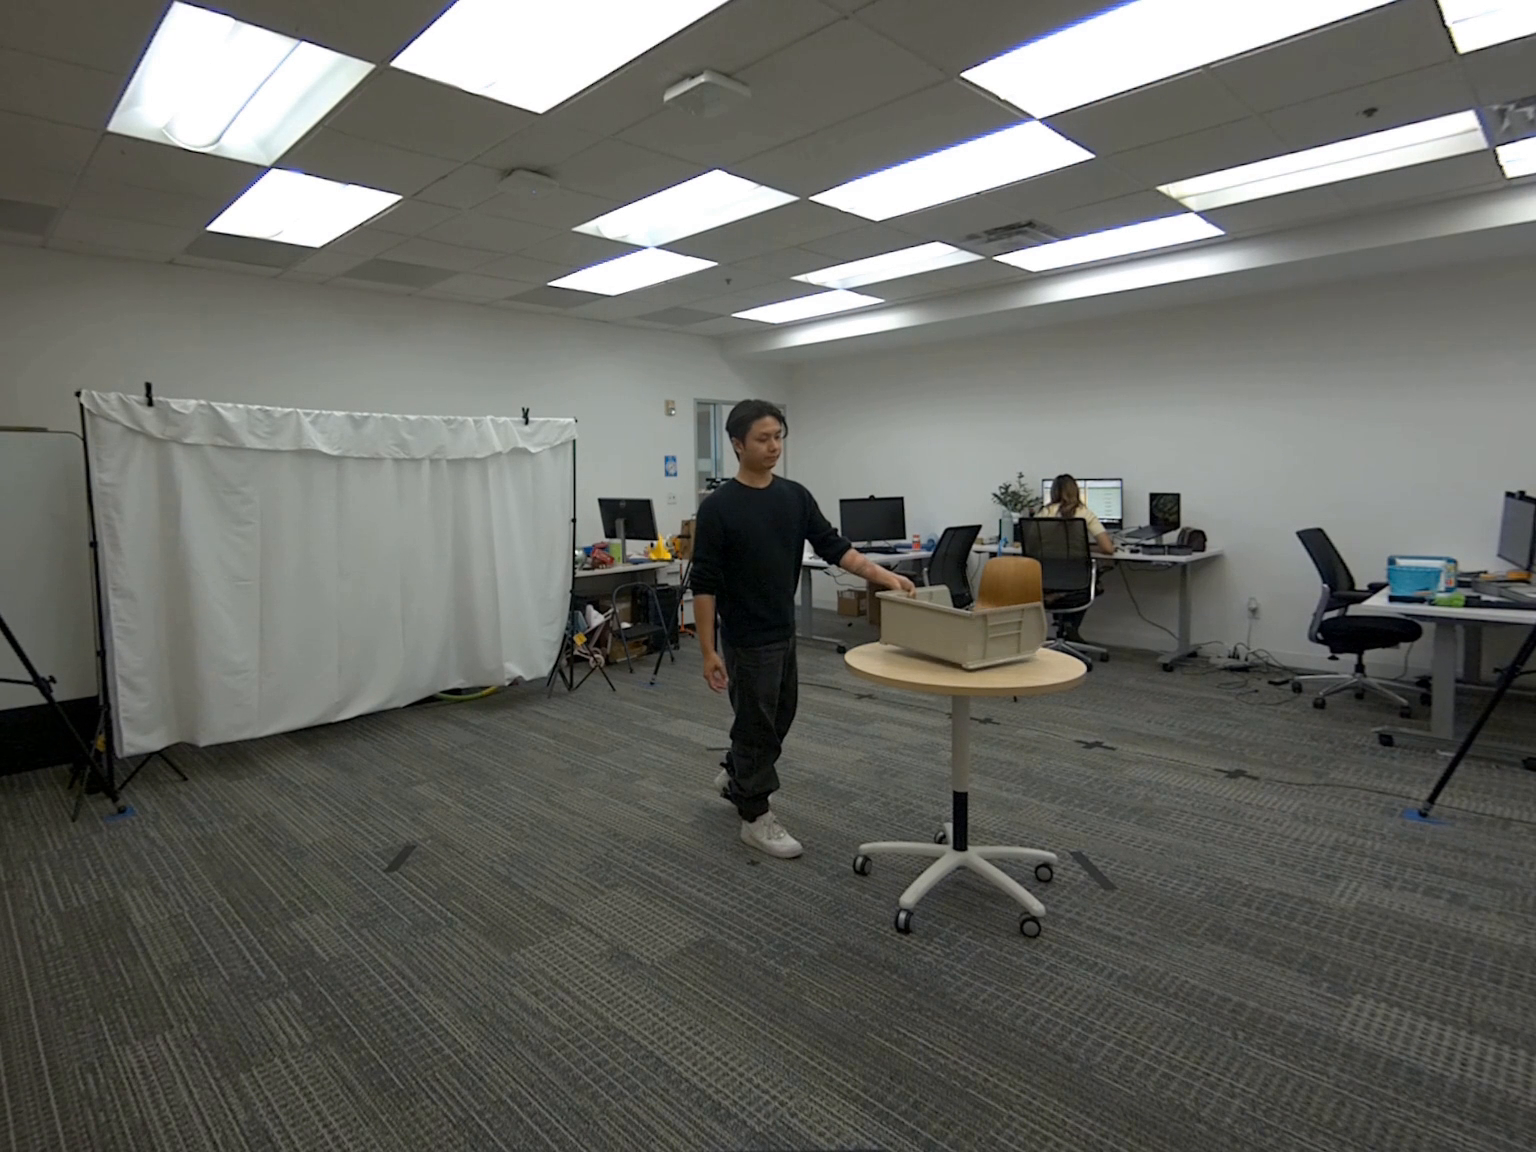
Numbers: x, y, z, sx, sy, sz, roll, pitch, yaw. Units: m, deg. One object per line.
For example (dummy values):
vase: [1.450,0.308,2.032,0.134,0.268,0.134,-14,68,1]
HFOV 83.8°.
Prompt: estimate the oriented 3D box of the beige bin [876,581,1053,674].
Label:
beige bin: [0.651,0.156,2.882,0.368,0.187,0.435,-7,10,-34]
